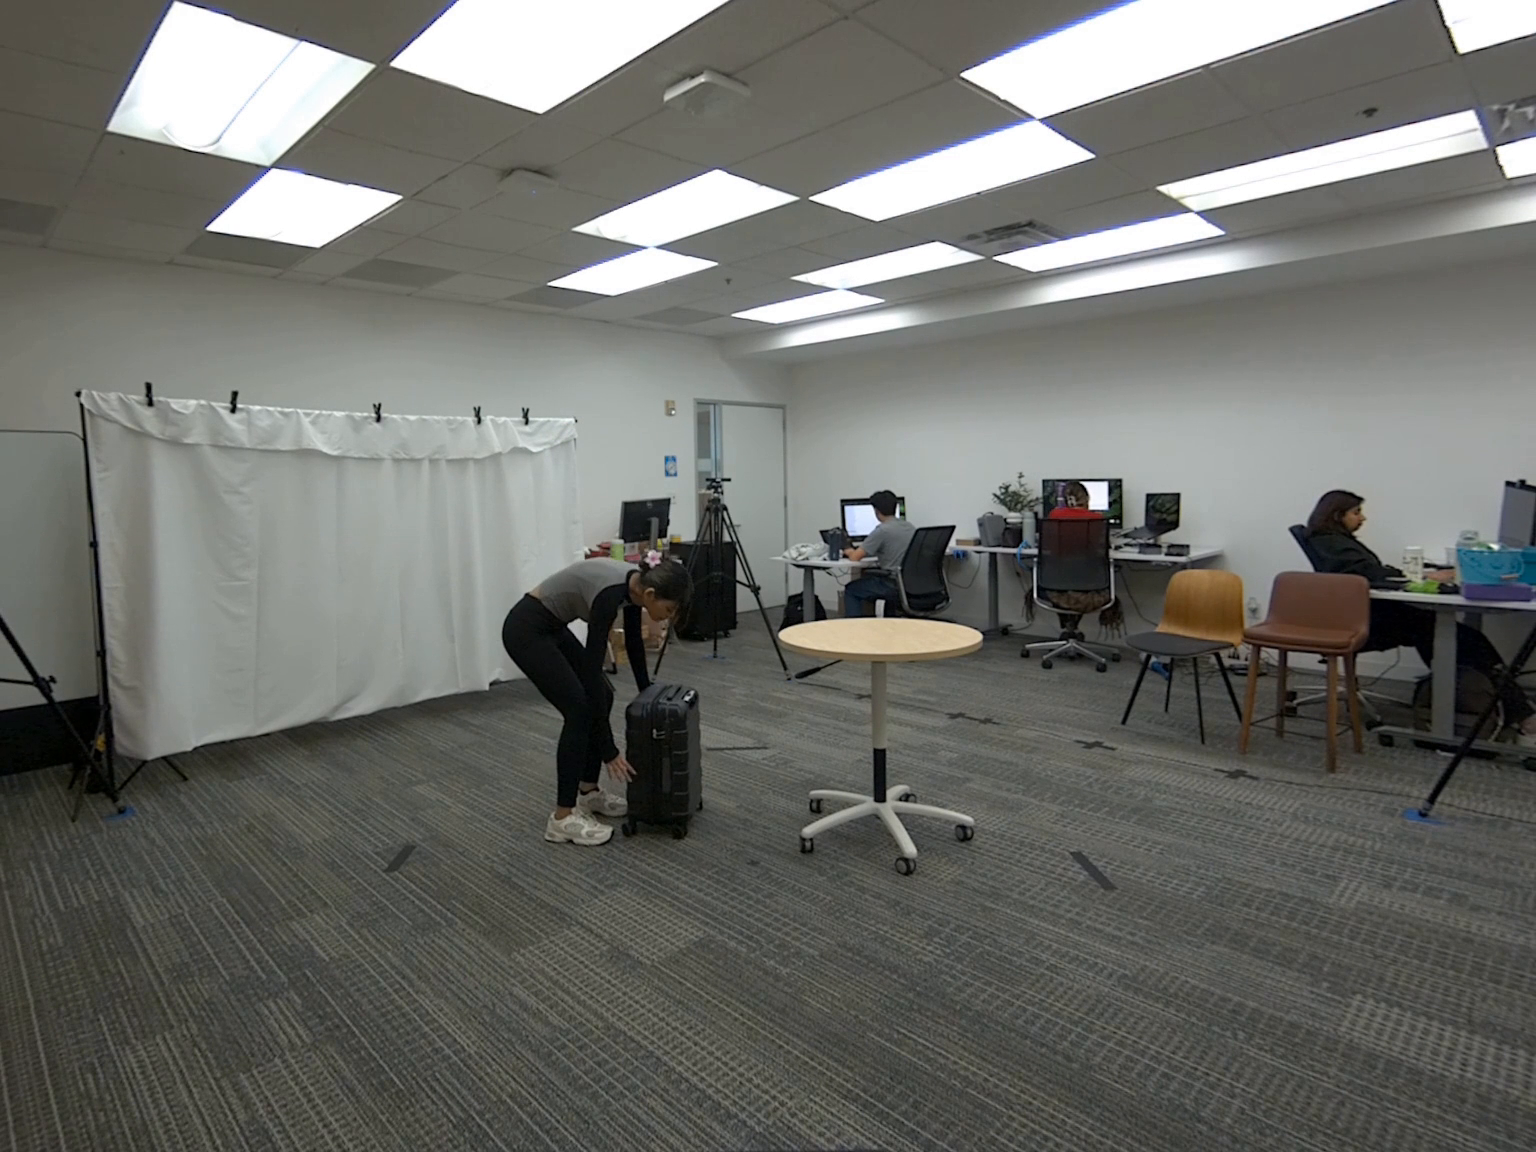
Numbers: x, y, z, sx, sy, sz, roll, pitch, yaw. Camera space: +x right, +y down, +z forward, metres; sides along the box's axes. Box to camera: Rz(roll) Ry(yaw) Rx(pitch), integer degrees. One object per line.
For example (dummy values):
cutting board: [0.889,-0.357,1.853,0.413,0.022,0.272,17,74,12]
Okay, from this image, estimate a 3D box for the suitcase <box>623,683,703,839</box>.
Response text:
suitcase: [-0.430,0.737,3.475,0.250,0.547,0.375,-2,5,4]
